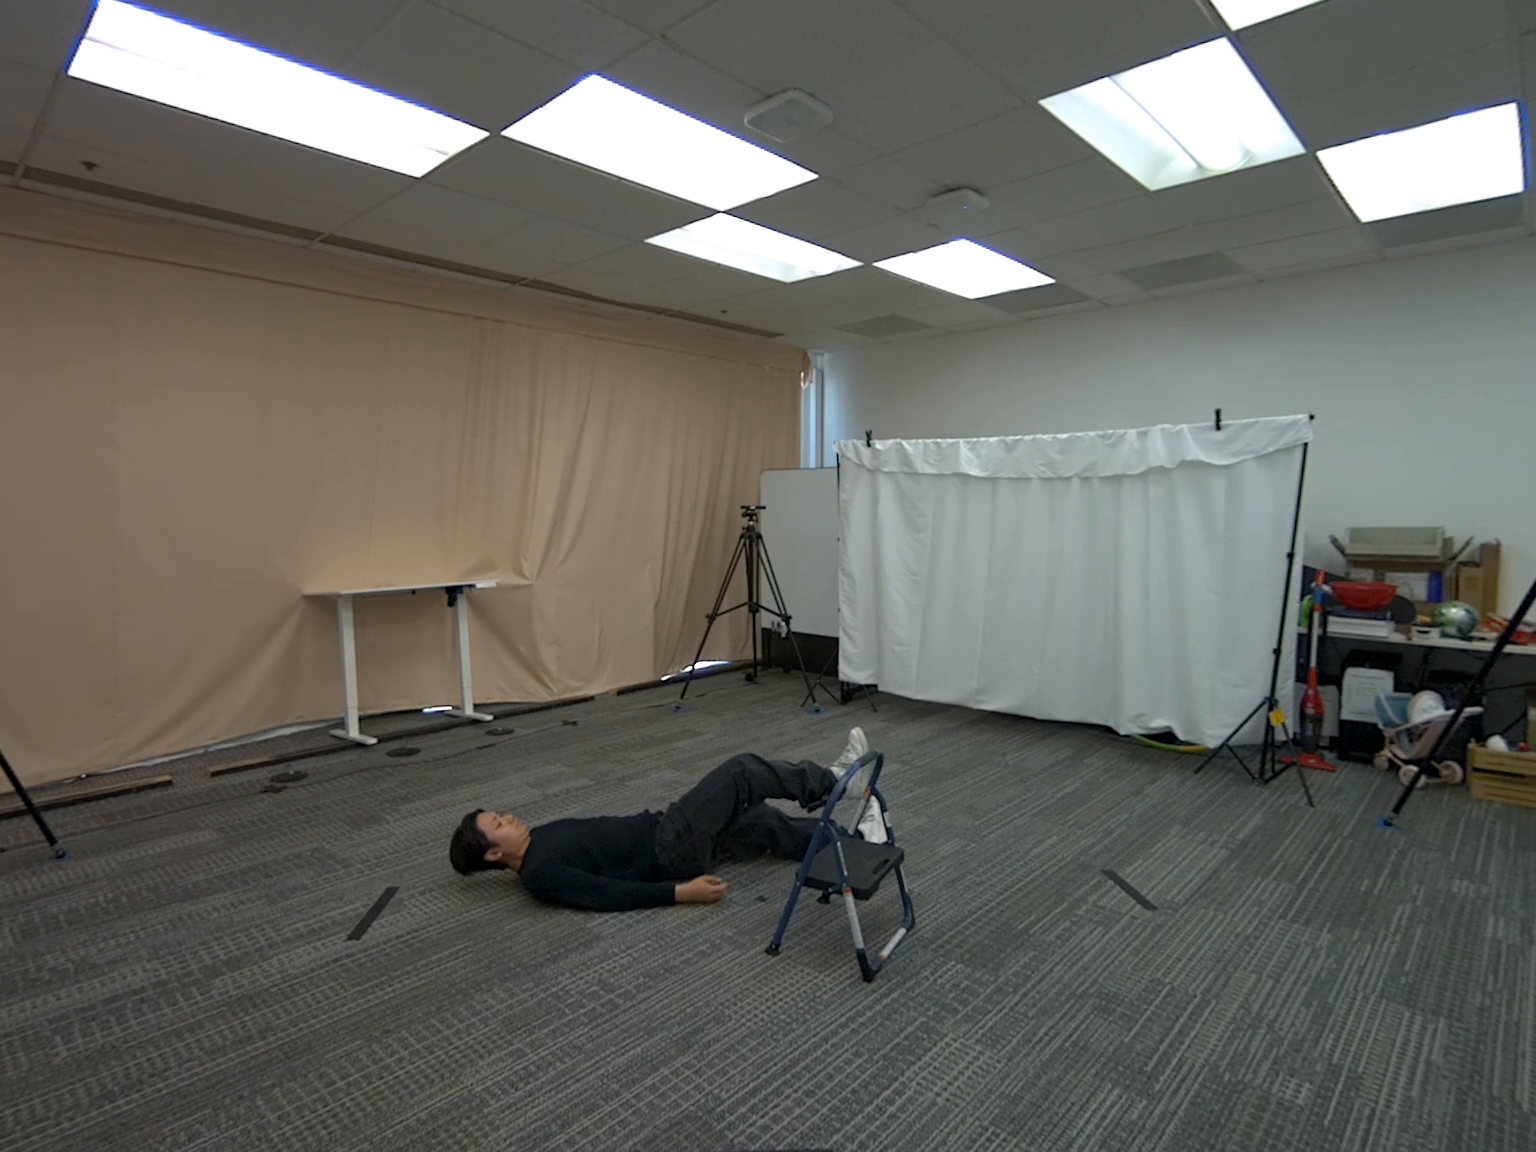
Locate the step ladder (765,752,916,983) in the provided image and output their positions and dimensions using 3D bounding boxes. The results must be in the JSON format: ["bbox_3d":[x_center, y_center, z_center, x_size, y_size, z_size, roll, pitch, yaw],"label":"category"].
[{"bbox_3d":[0.245,0.863,2.697,0.359,0.605,0.419,1,3,29],"label":"step ladder"}]
